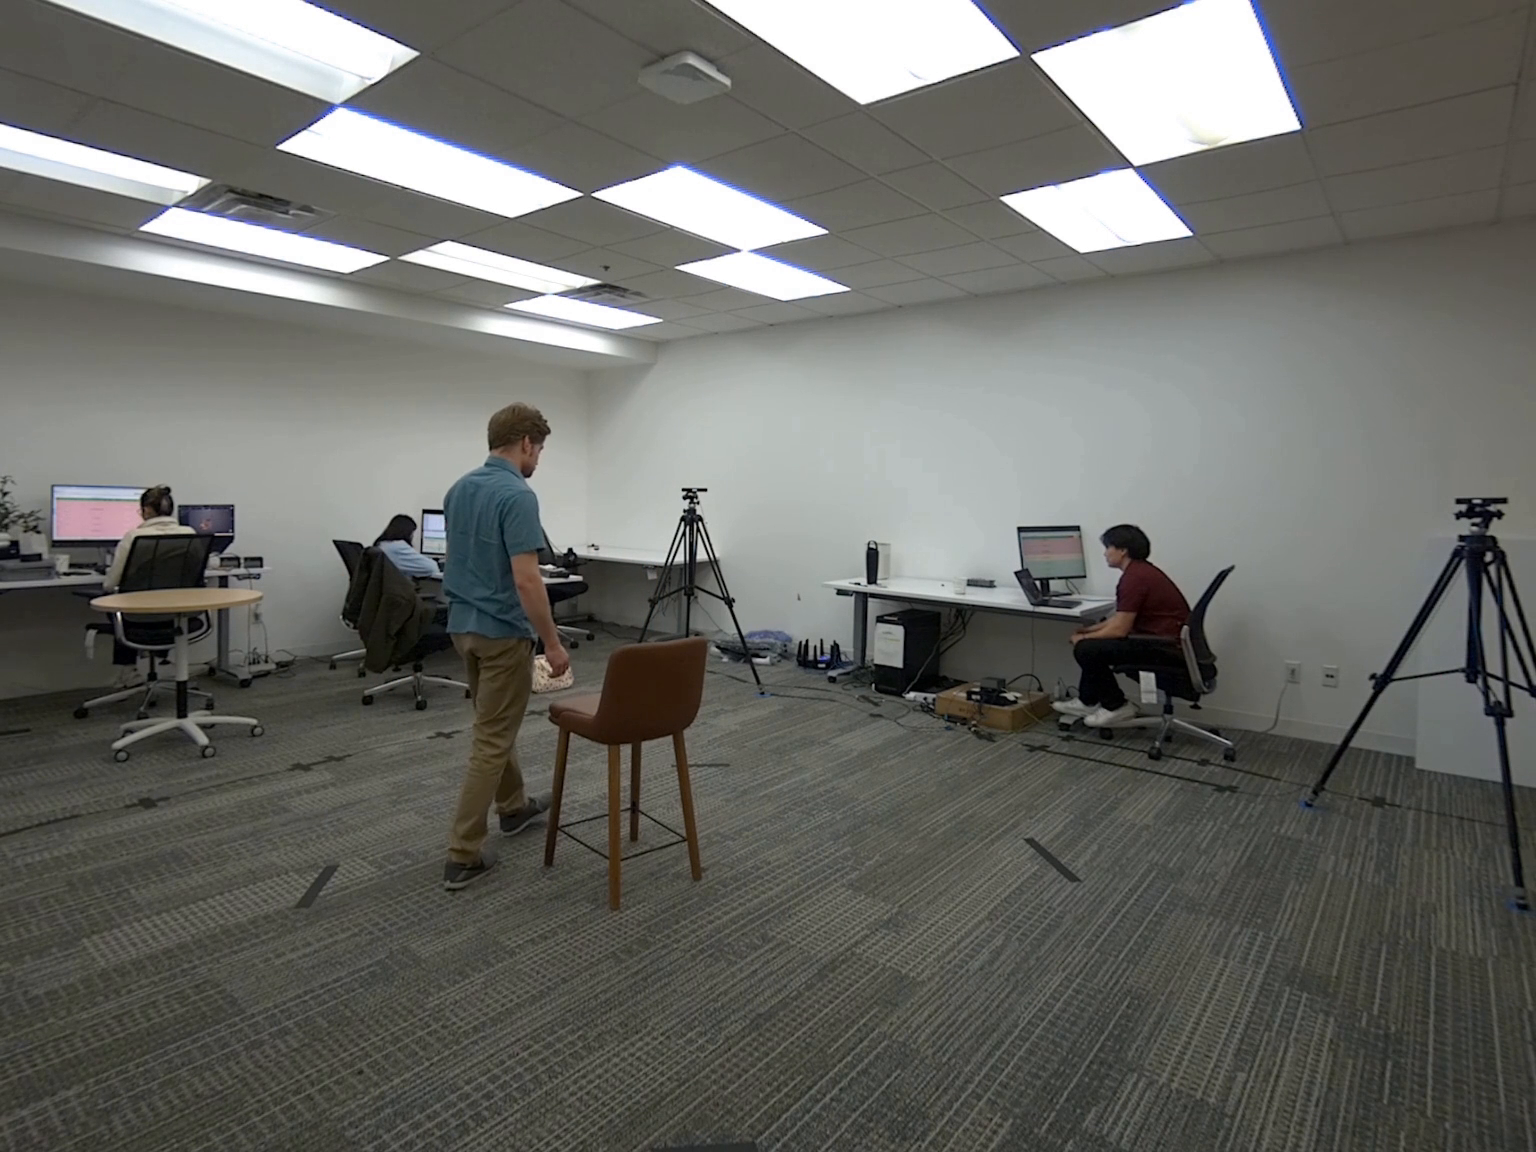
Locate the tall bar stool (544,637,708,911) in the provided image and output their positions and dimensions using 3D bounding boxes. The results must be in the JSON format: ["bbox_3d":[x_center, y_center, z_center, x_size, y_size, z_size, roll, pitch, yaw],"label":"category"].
[{"bbox_3d":[-0.522,0.635,3.051,0.442,0.886,0.484,-1,6,-42],"label":"tall bar stool"}]
